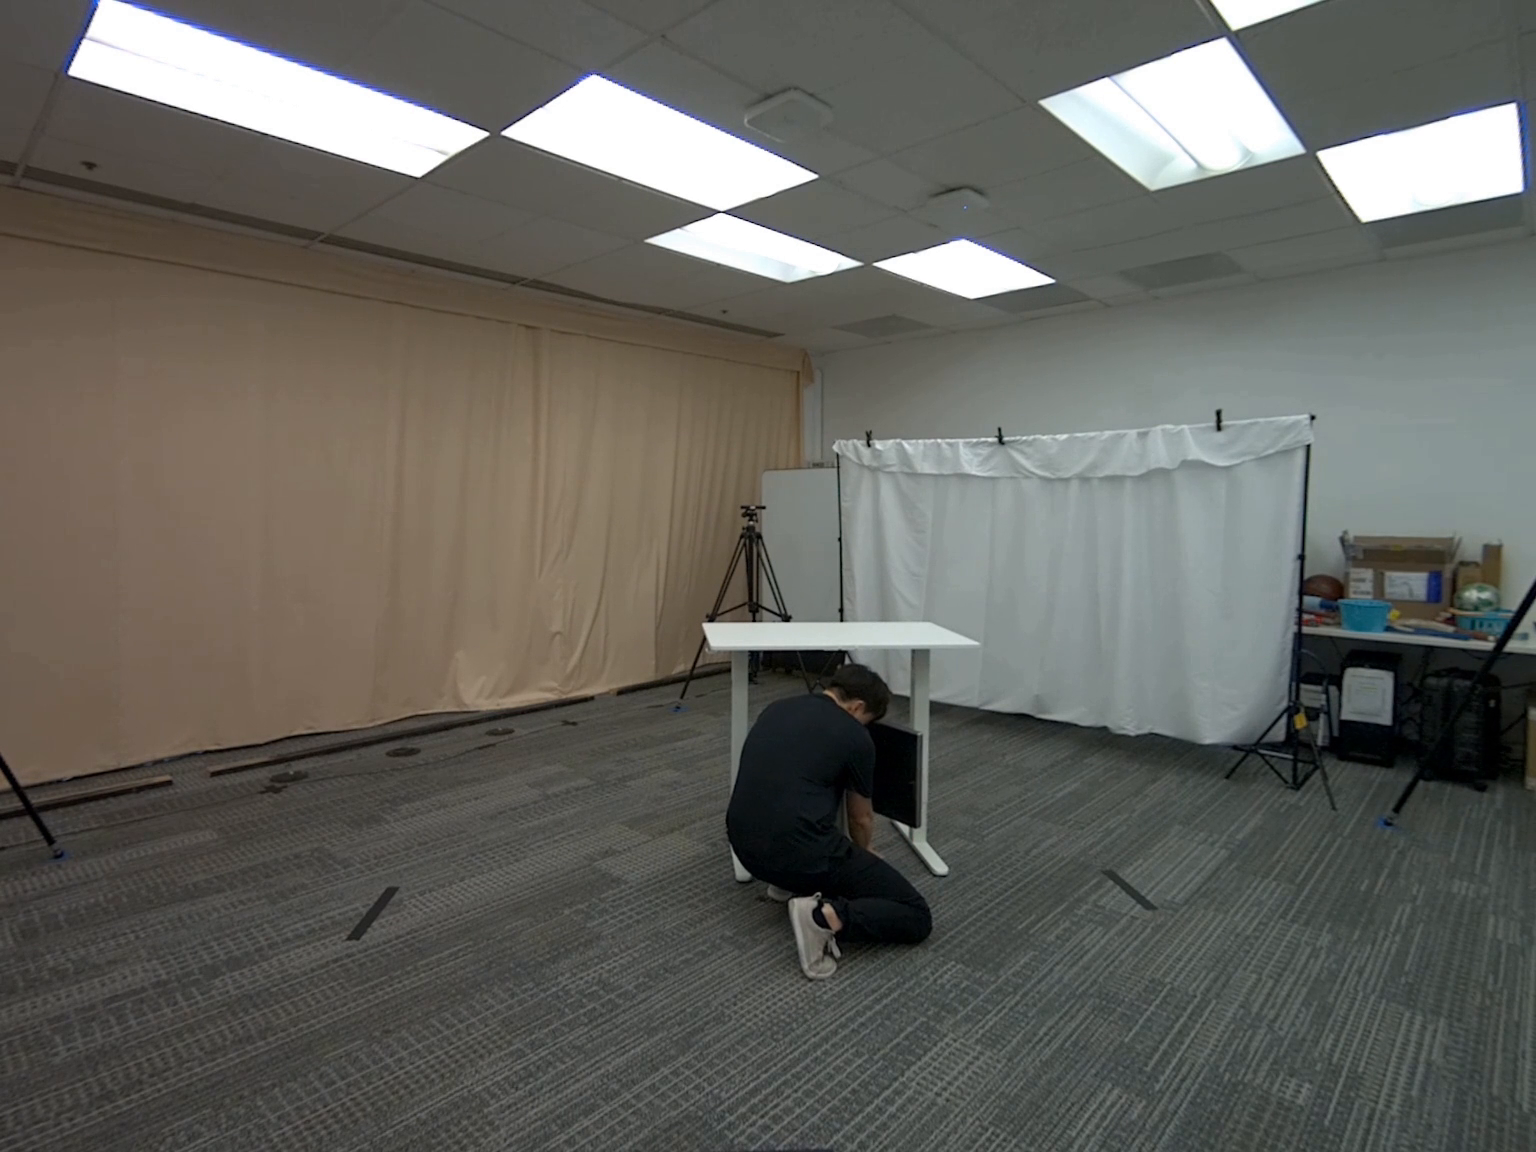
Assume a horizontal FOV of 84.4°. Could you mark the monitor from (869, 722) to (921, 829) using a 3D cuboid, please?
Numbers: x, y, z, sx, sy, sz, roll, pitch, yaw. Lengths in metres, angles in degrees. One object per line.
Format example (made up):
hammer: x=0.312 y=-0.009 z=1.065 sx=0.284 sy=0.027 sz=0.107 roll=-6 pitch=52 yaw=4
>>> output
monitor: x=0.341 y=0.801 z=3.239 sx=0.181 sy=0.522 sz=0.558 roll=7 pitch=3 yaw=-43
